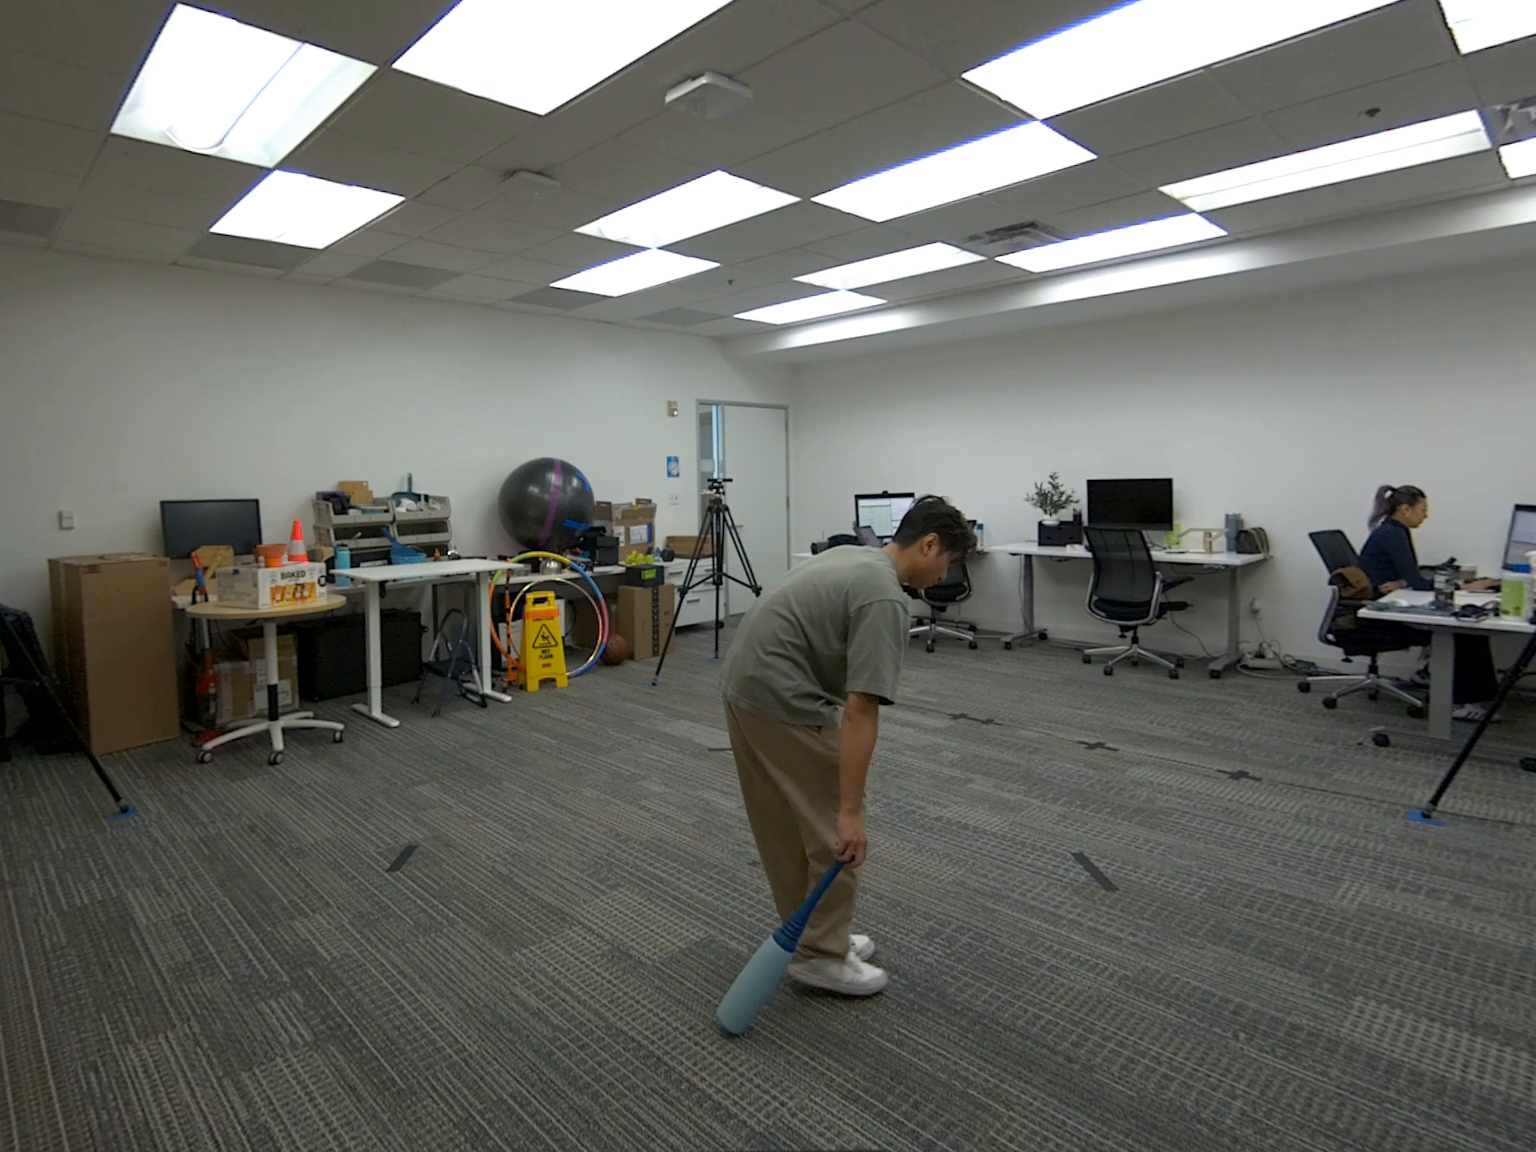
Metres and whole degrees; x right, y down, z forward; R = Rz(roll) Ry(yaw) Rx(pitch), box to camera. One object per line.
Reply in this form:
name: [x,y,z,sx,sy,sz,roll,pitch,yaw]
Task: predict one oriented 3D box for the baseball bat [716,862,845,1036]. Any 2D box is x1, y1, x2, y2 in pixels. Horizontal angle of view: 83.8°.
baseball bat: [0.051,0.925,2.156,0.089,0.542,0.089,33,3,-4]
